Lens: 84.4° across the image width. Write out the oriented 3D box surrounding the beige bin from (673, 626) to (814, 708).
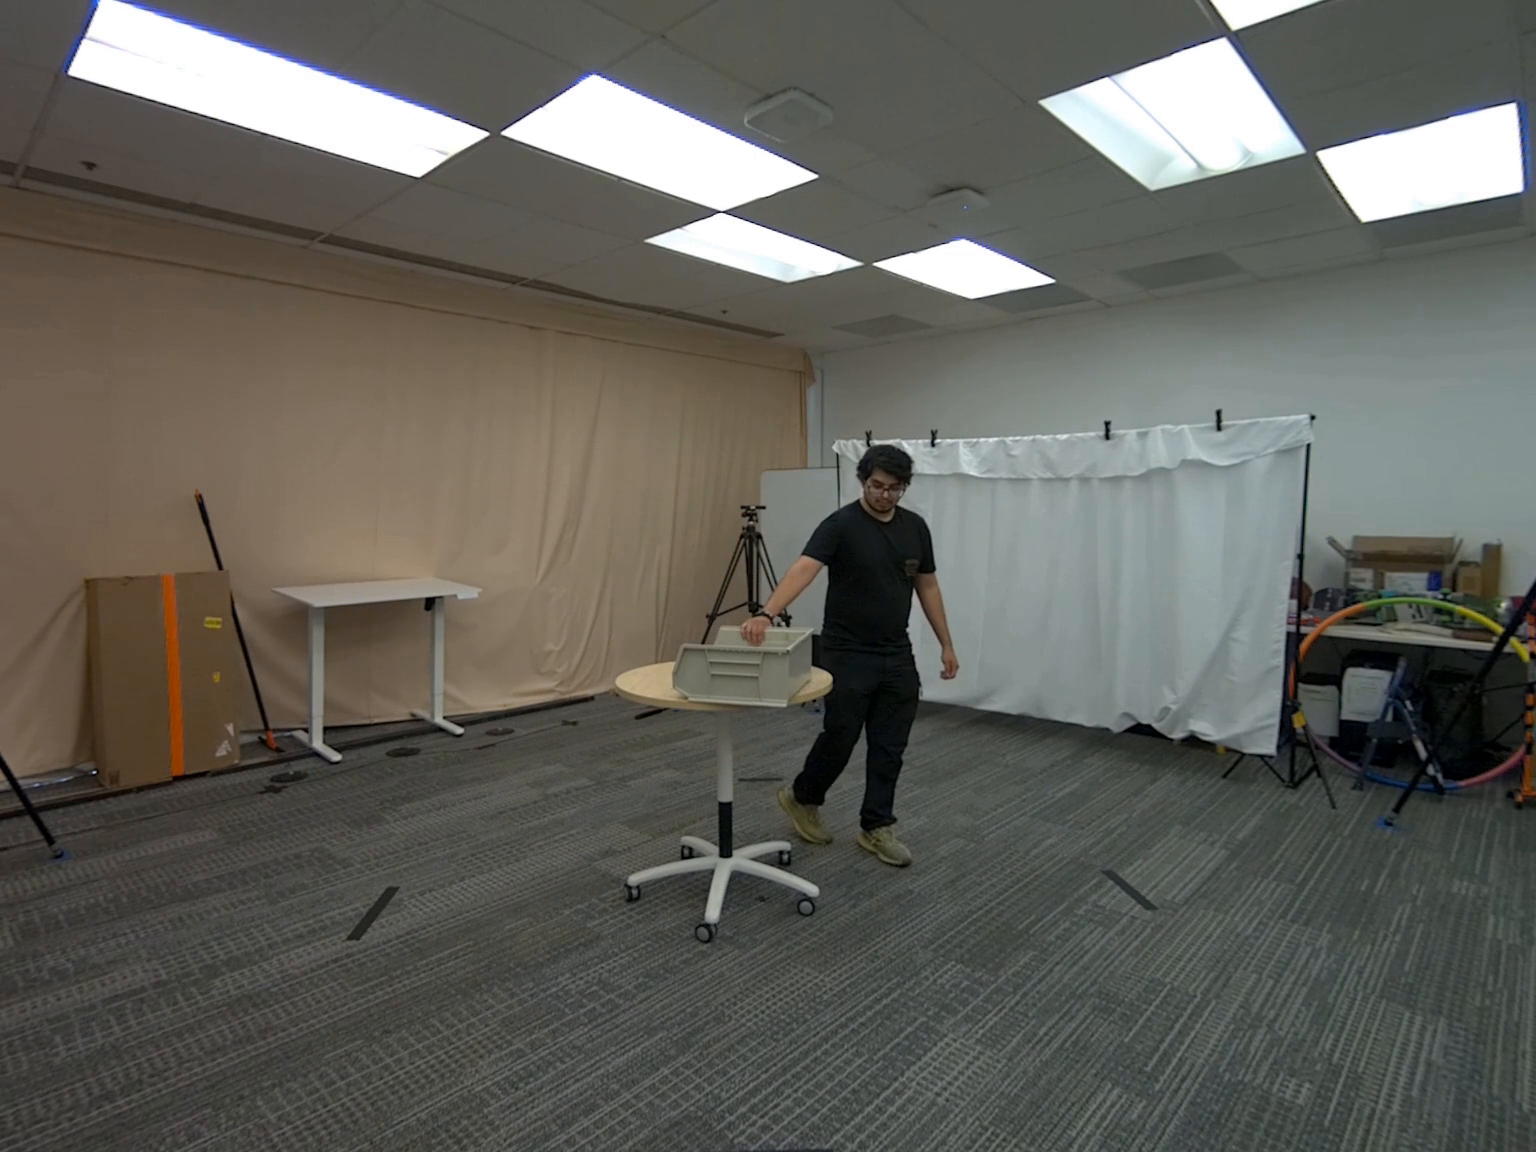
[{"bbox_3d":[-0.067,0.286,2.773,0.384,0.188,0.416,3,5,15],"label":"beige bin"}]
